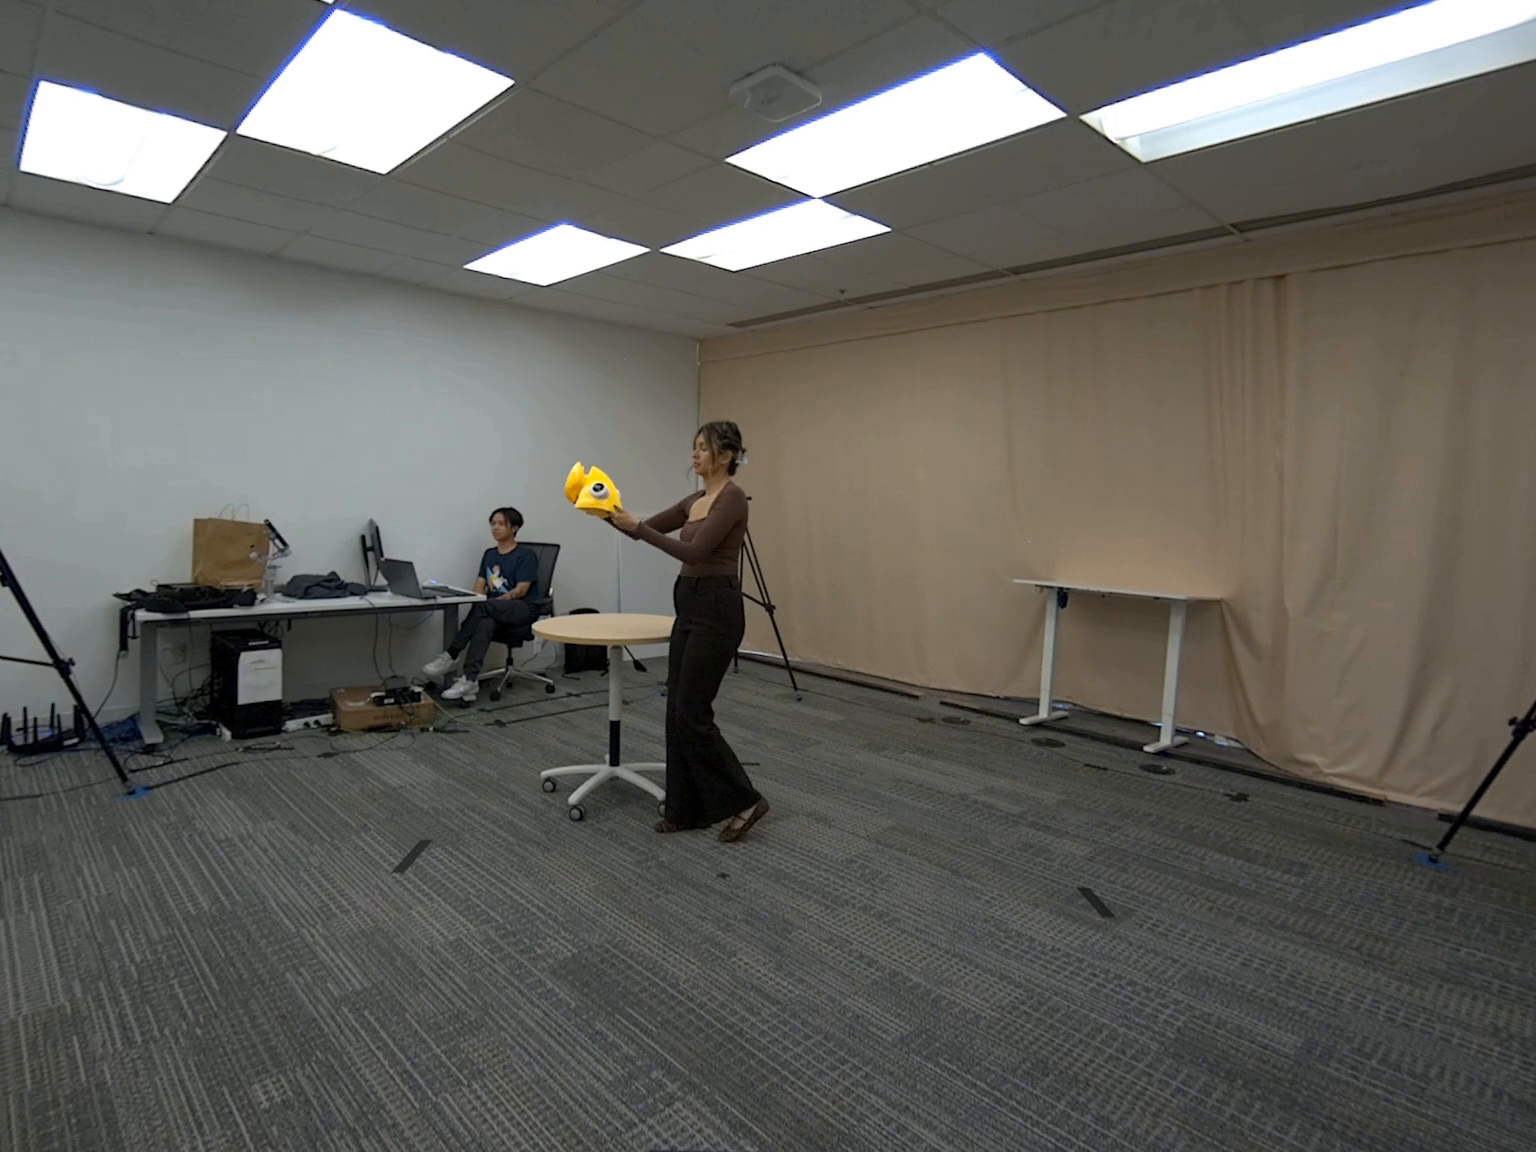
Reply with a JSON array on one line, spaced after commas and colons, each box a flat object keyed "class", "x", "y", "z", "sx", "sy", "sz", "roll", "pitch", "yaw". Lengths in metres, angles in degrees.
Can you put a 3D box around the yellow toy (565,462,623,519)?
[{"class": "yellow toy", "x": -0.671, "y": -0.329, "z": 3.367, "sx": 0.236, "sy": 0.193, "sz": 0.200, "roll": 17, "pitch": -2, "yaw": 24}]
